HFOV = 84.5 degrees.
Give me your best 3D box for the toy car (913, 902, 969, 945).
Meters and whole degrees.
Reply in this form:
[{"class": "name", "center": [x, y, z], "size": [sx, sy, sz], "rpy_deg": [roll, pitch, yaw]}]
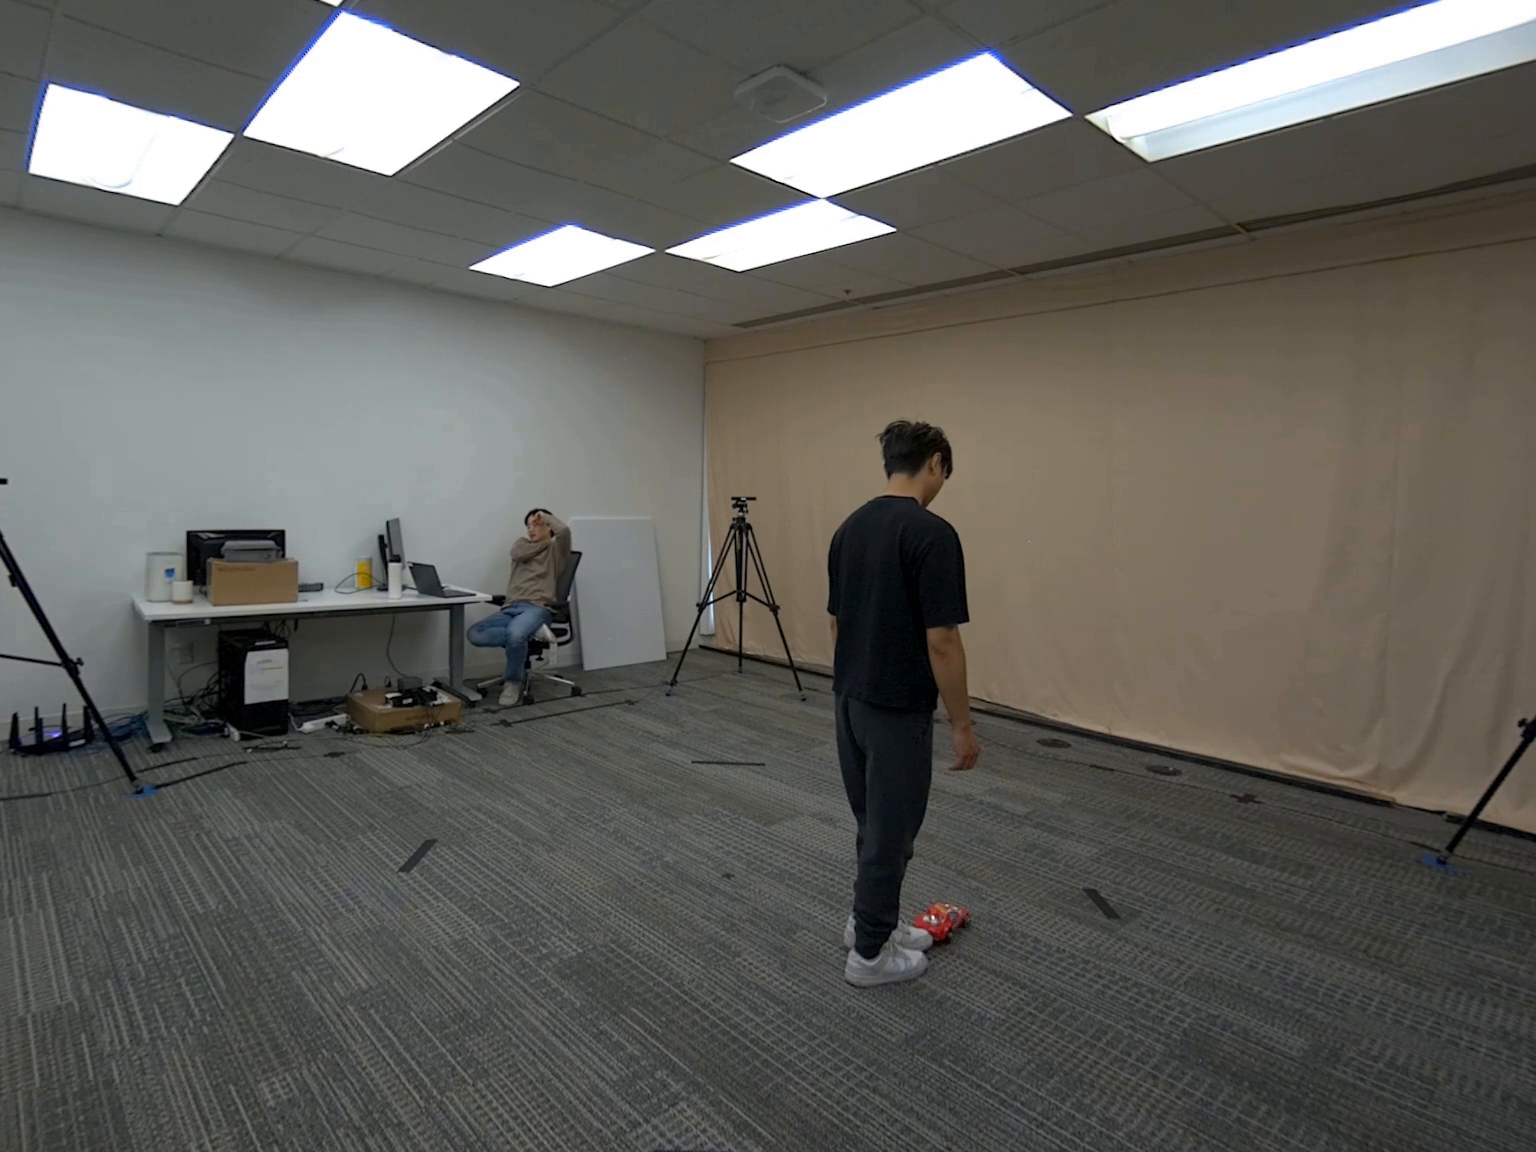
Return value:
[{"class": "toy car", "center": [0.556, 1.125, 2.726], "size": [0.133, 0.083, 0.247], "rpy_deg": [6, -6, 36]}]
